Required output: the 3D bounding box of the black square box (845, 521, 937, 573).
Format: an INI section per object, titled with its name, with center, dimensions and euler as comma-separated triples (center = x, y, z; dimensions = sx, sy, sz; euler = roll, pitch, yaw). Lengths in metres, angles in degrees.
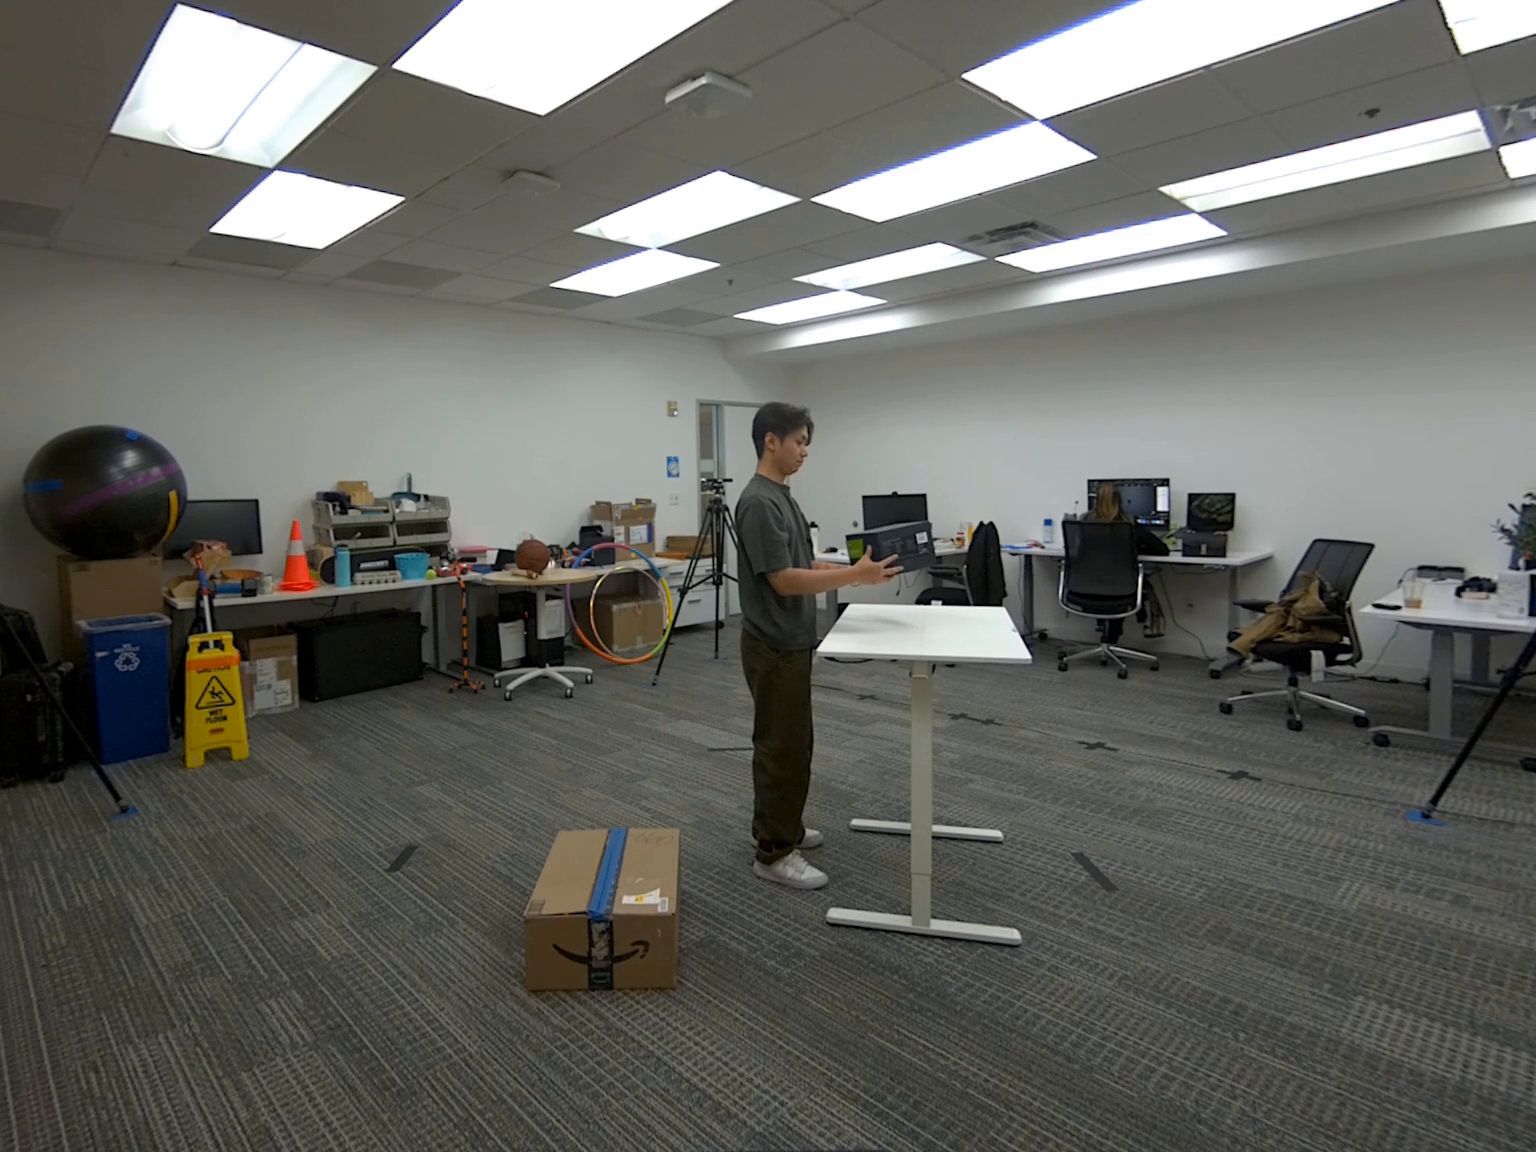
[black square box]
center = 0.425, -0.091, 2.986
dimensions = 0.214, 0.155, 0.232
euler = -11, 4, -20
